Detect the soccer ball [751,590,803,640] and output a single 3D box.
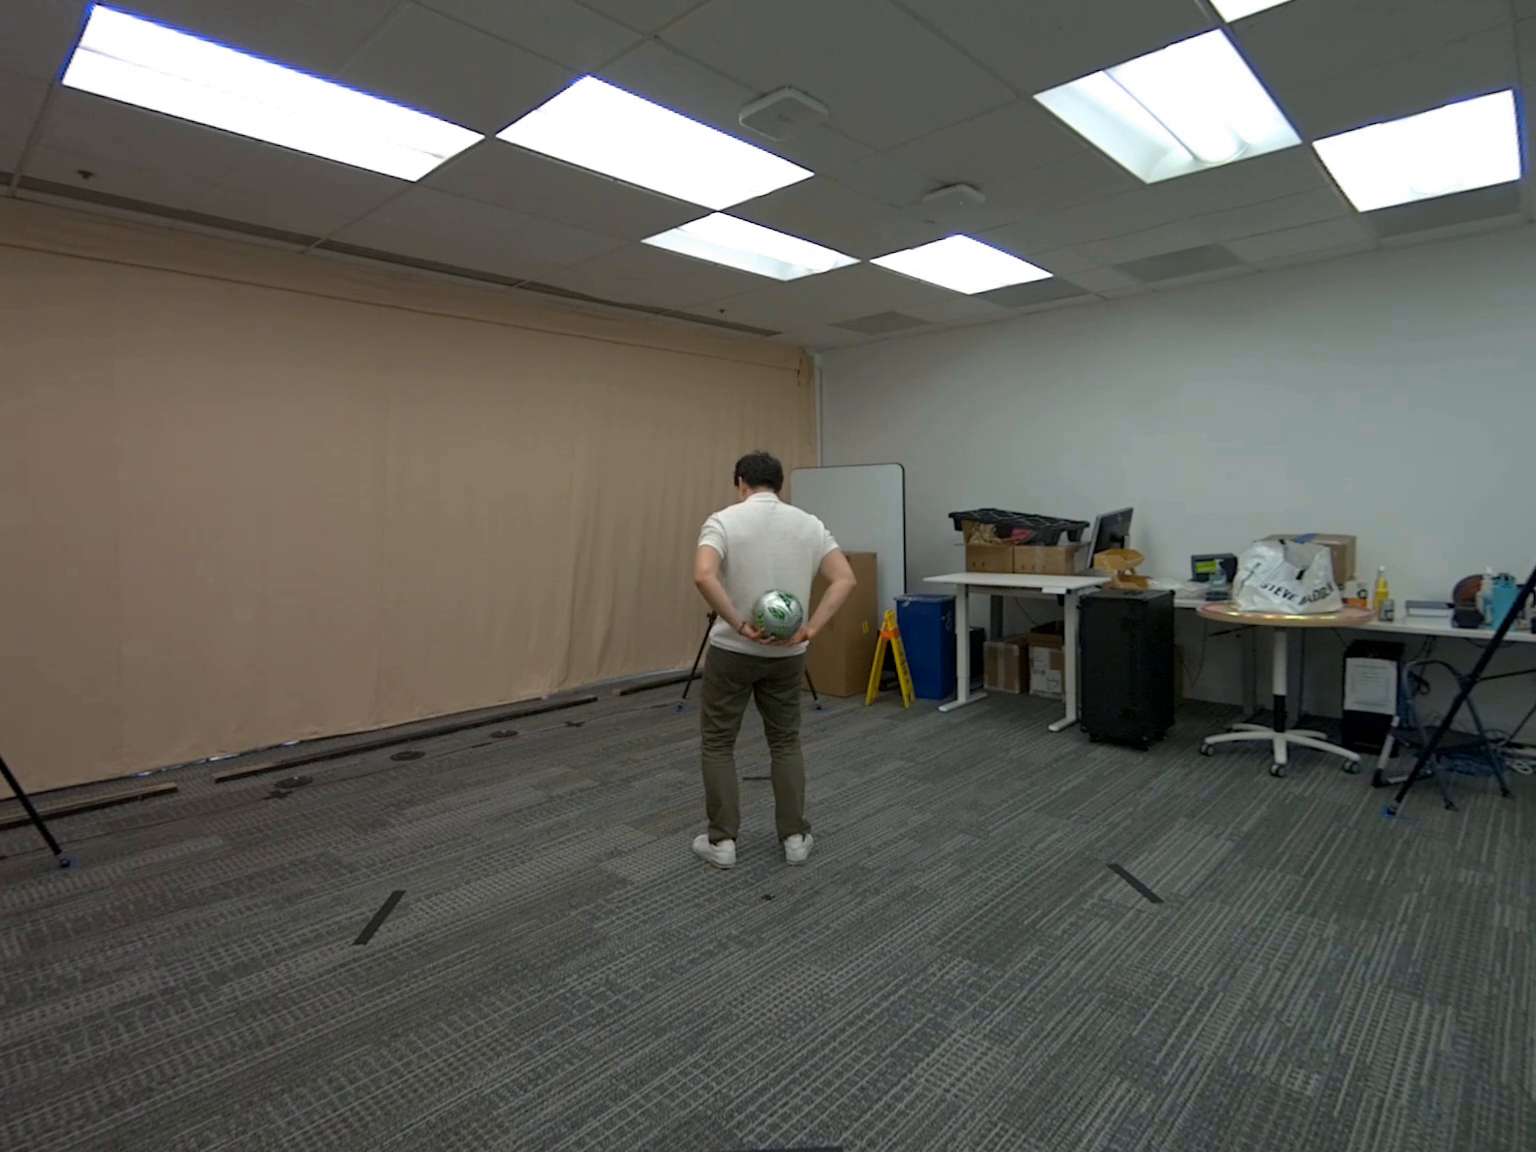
[{"bbox_3d":[0.033,0.139,3.064,0.187,0.187,0.188,-1,4,-2],"label":"soccer ball"}]
